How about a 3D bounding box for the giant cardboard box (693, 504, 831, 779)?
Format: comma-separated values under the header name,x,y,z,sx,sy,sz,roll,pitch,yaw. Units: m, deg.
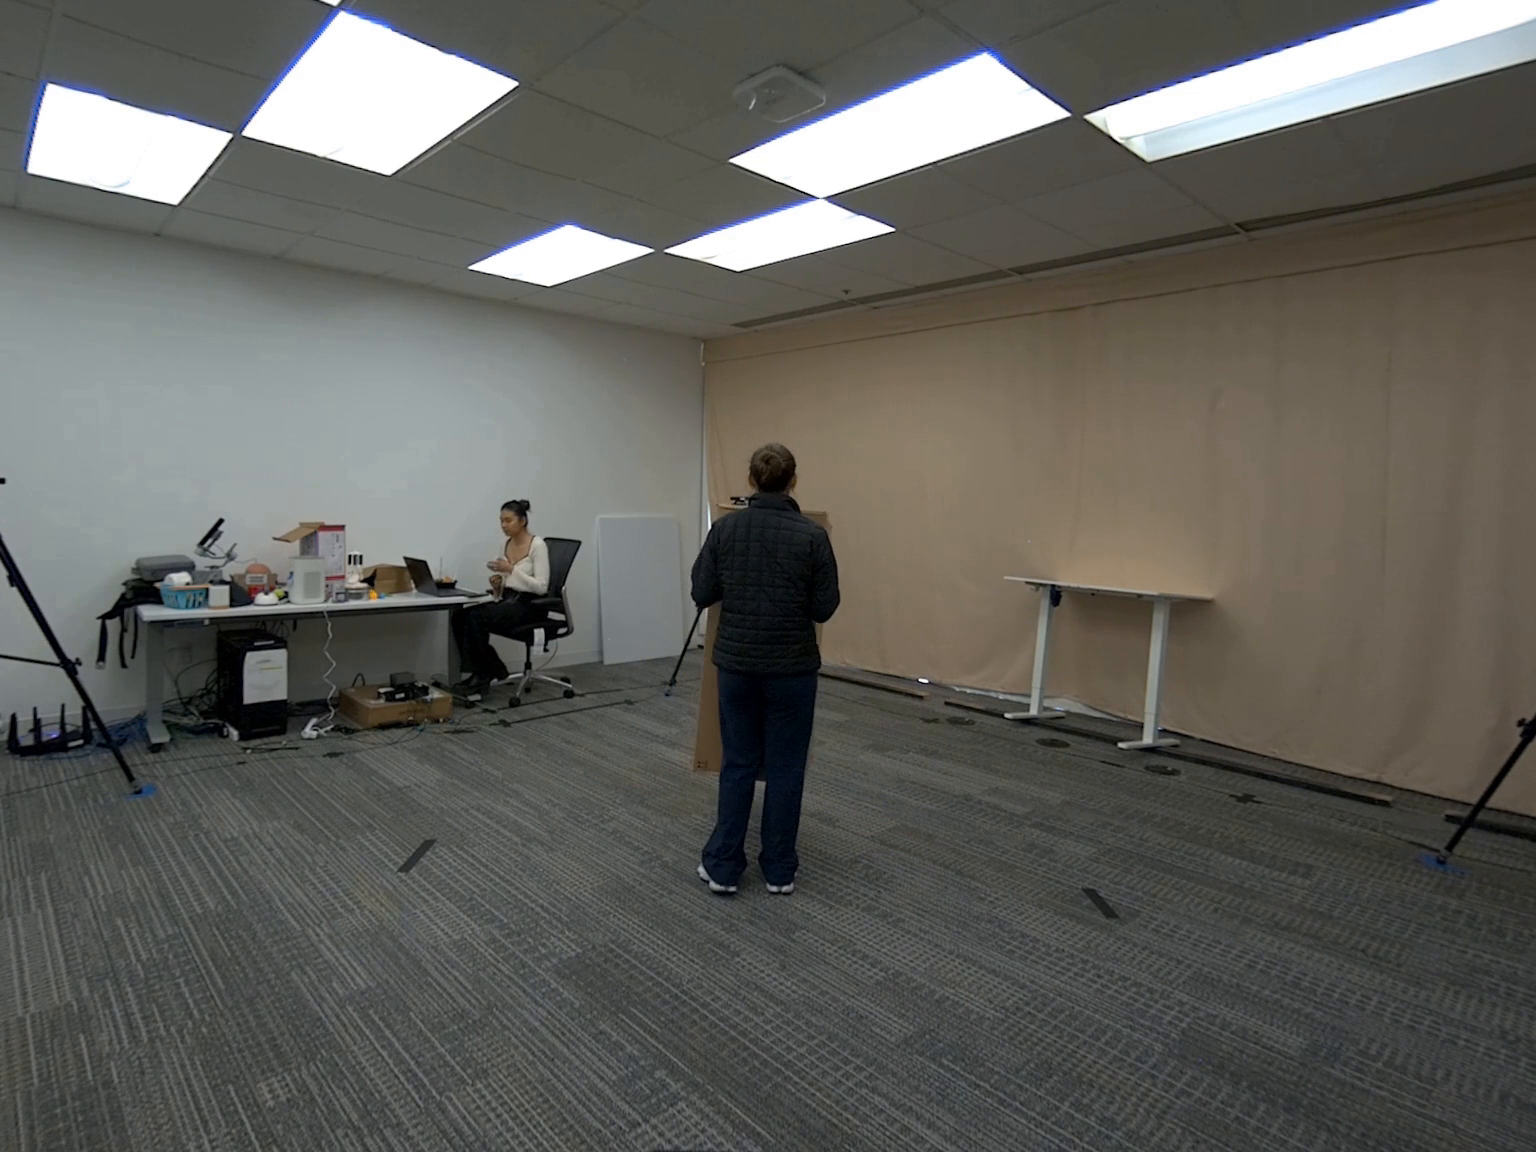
name,x,y,z,sx,sy,sz,roll,pitch,yaw
giant cardboard box,-0.012,0.266,3.431,0.429,1.028,0.572,5,-3,8
